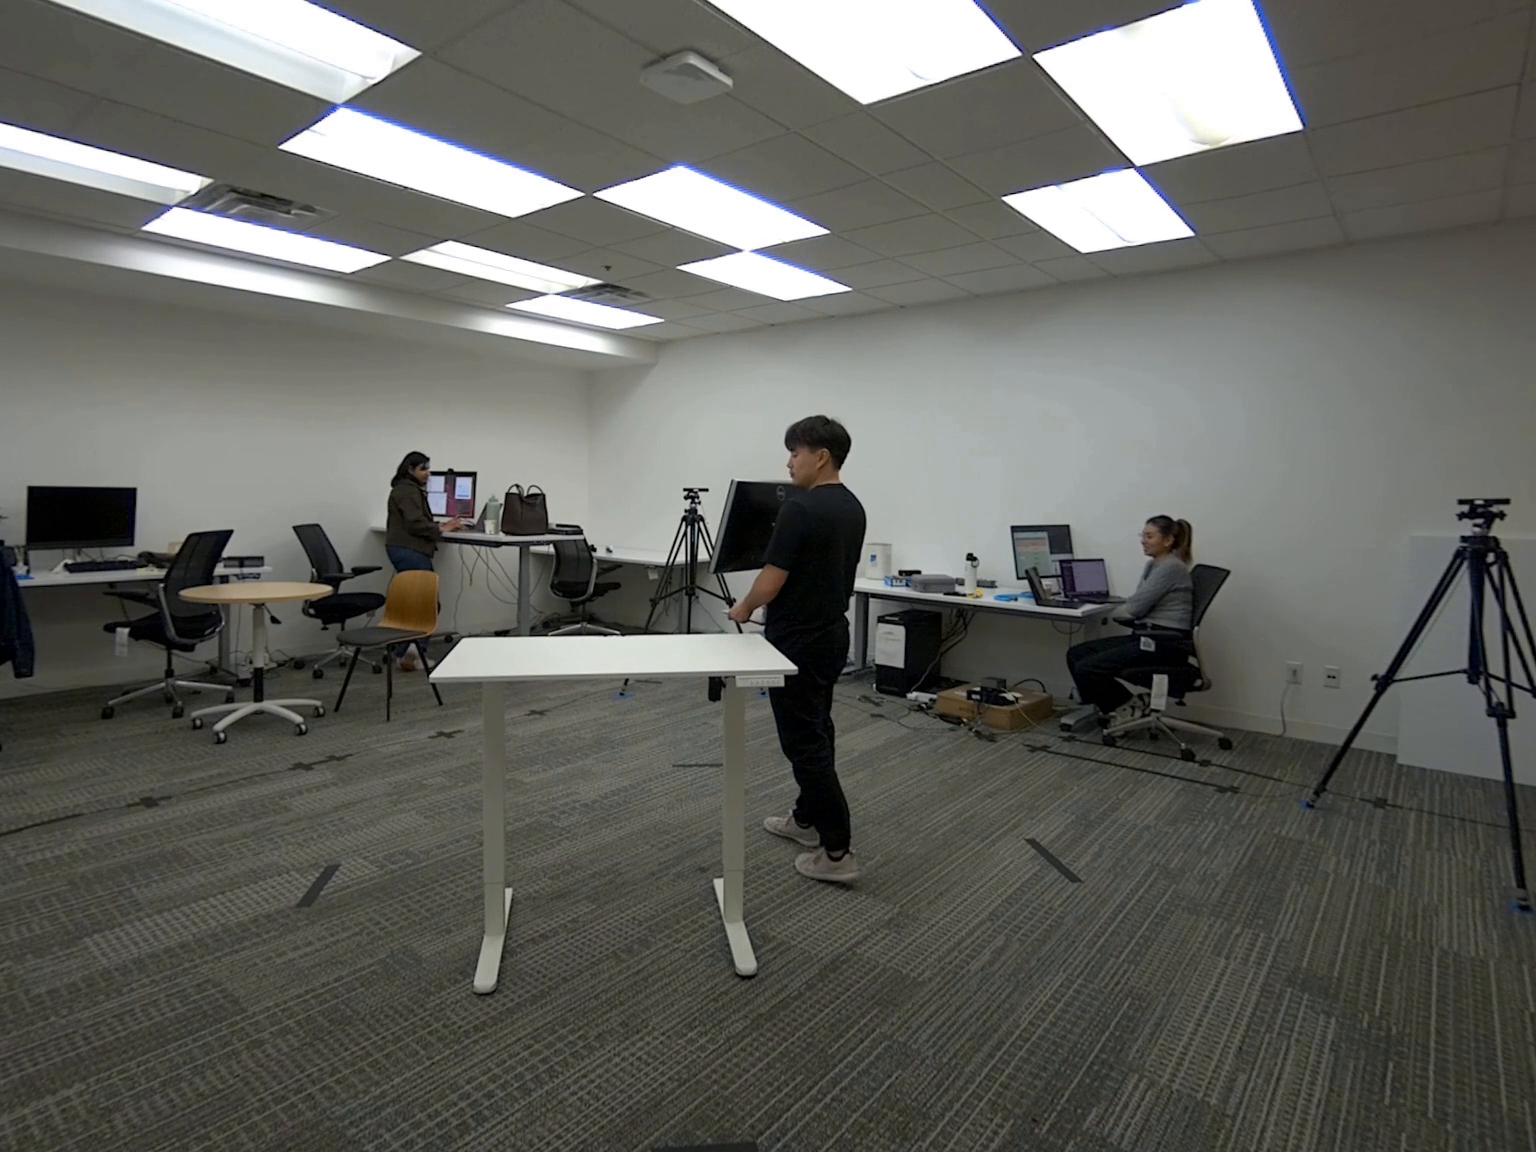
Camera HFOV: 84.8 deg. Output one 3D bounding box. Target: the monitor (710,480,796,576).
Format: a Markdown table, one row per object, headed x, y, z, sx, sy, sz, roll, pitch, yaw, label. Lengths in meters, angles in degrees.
| x | y | z | sx | sy | sz | roll | pitch | yaw | label |
| --- | --- | --- | --- | --- | --- | --- | --- | --- | --- |
| -0.006 | -0.109 | 3.312 | 0.193 | 0.520 | 0.524 | 9 | 8 | 33 | monitor |
